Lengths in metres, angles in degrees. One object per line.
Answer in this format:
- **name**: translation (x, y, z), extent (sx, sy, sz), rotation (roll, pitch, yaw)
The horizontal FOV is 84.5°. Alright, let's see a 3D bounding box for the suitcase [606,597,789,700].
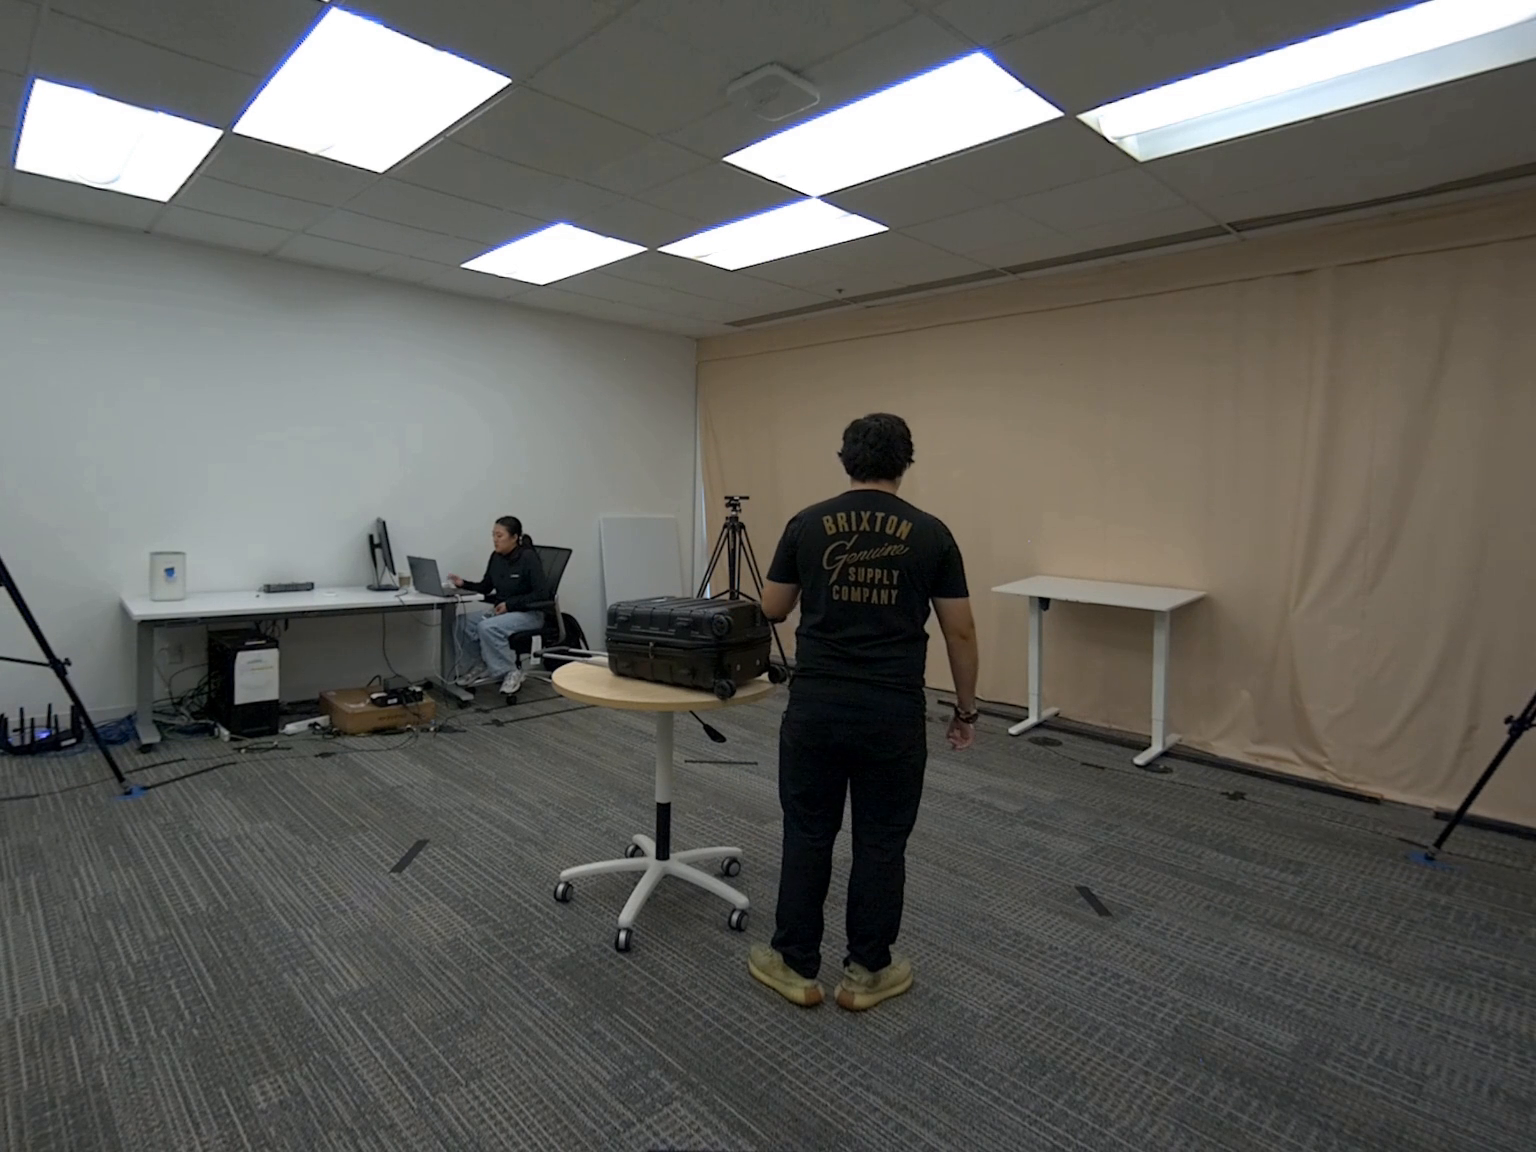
- **suitcase**: translation (-0.435, 0.206, 2.939), extent (1.002, 0.256, 0.376), rotation (5, 8, 35)
